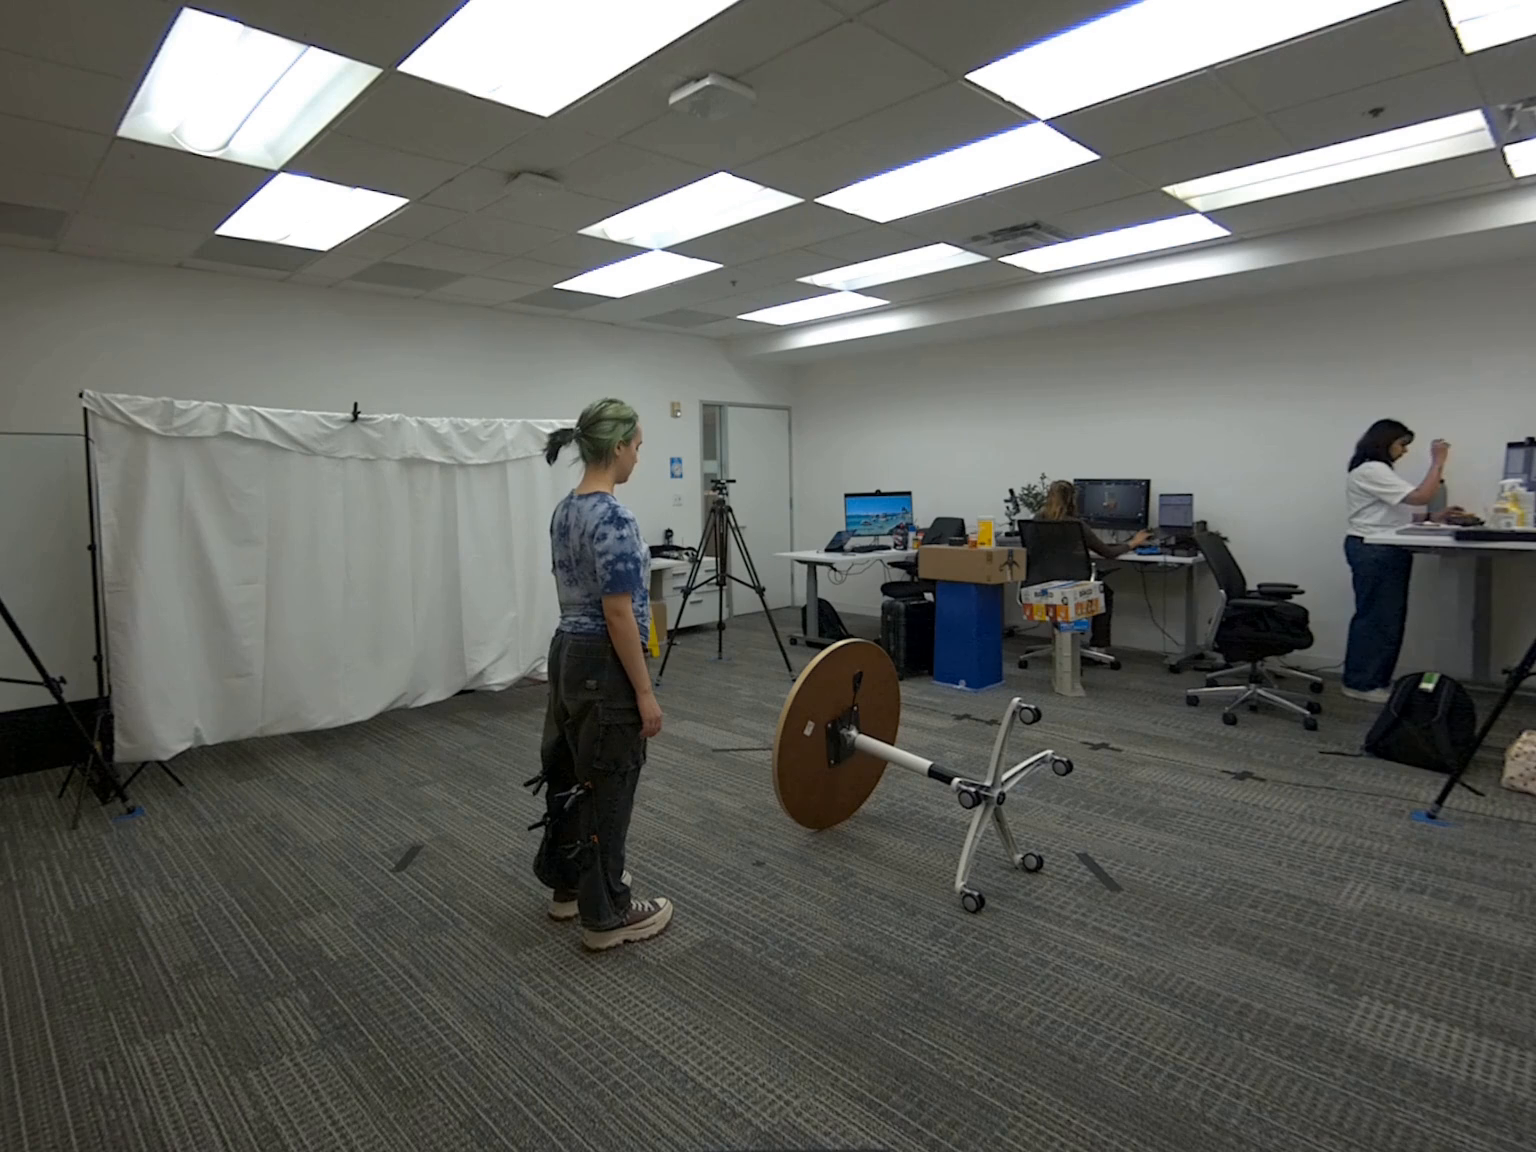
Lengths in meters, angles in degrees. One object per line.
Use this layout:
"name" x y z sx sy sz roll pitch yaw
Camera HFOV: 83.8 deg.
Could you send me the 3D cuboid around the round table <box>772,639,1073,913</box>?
"round table" 0.564 0.693 3.119 0.744 0.758 0.821 -5 13 -44
